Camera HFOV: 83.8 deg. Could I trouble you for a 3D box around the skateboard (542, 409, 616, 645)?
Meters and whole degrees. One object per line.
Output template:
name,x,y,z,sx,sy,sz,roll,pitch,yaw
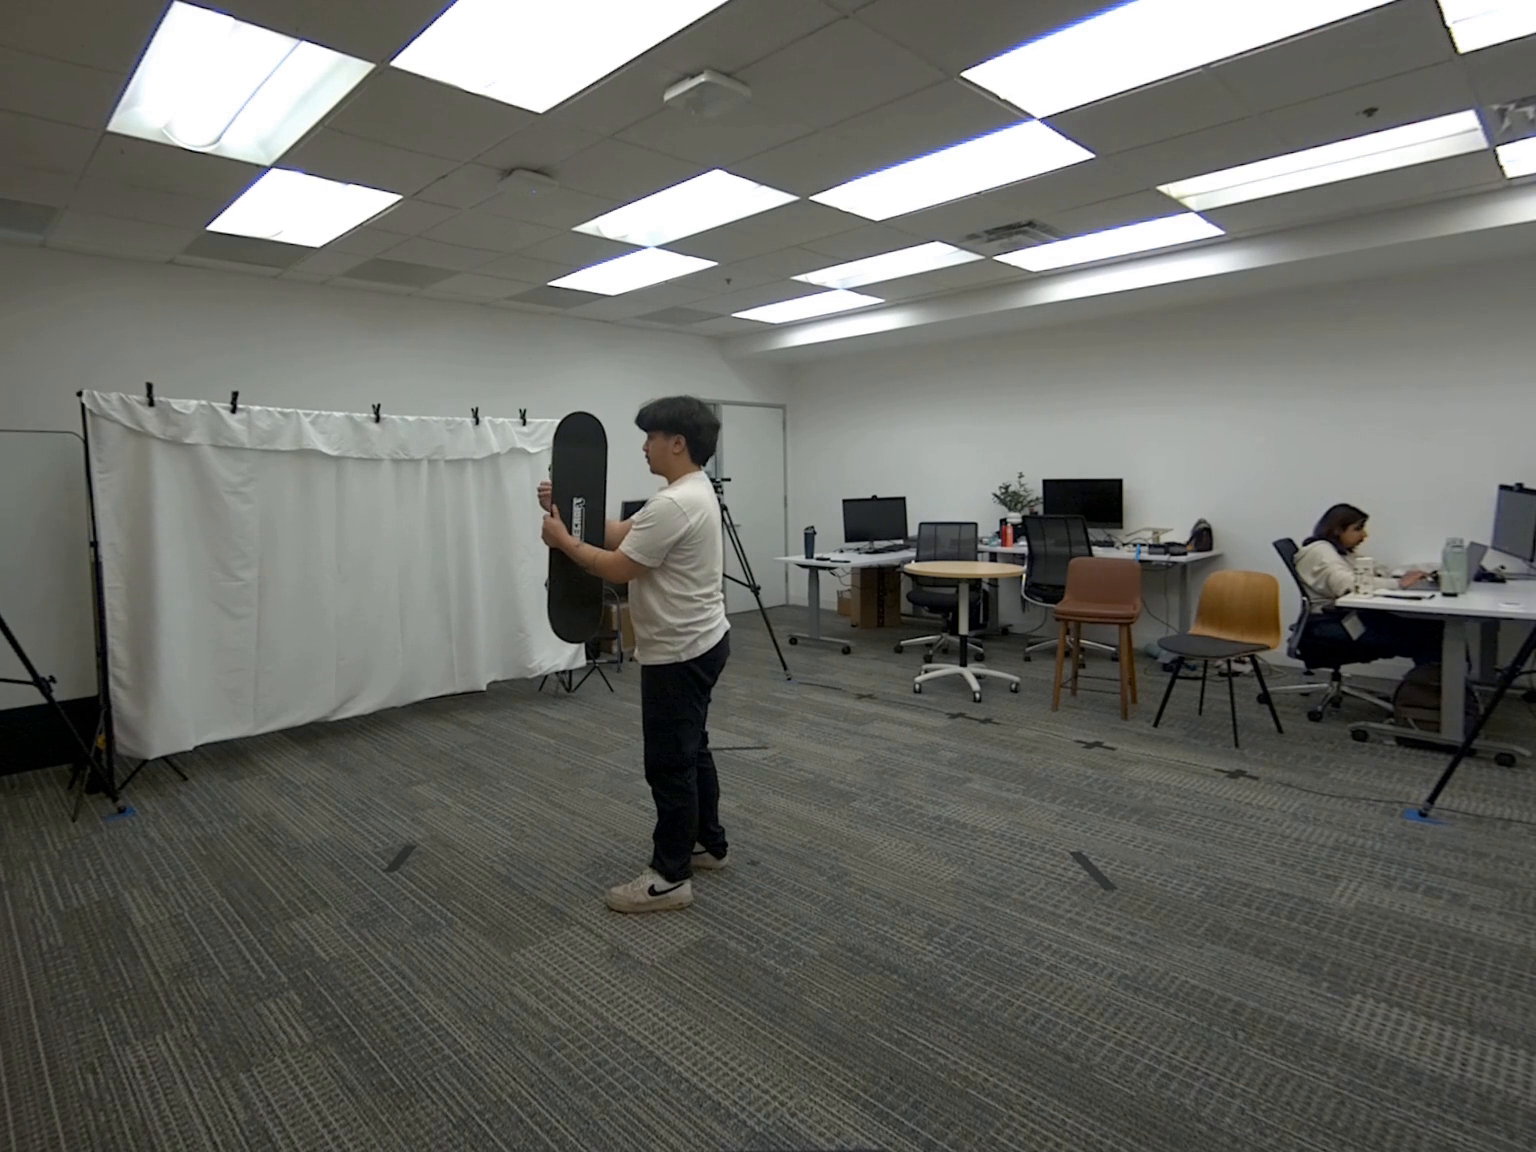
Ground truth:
skateboard,-0.652,-0.166,2.942,0.190,0.786,0.112,3,-1,-21
